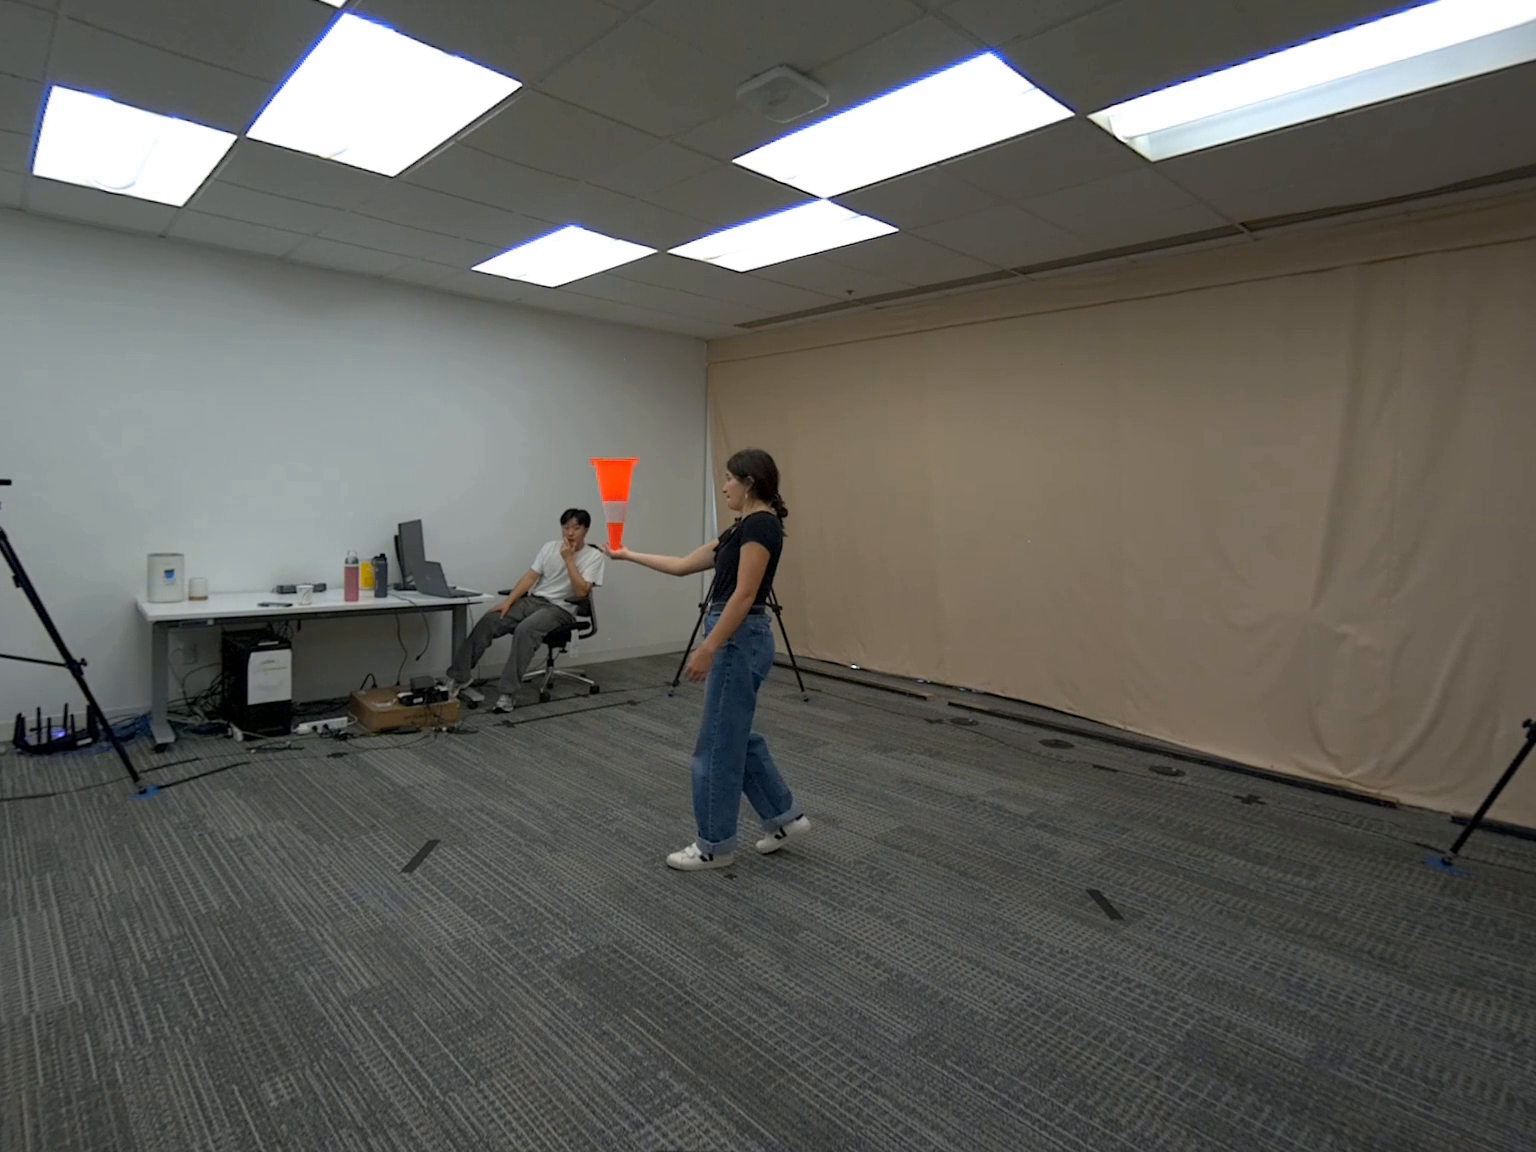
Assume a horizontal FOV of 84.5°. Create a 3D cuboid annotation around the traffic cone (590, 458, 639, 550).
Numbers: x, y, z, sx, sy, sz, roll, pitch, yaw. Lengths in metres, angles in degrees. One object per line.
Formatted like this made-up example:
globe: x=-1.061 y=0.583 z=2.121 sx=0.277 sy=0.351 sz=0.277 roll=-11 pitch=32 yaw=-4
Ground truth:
traffic cone: x=-0.651 y=-0.281 z=3.485 sx=0.204 sy=0.384 sz=0.203 roll=-1 pitch=-1 yaw=-3
